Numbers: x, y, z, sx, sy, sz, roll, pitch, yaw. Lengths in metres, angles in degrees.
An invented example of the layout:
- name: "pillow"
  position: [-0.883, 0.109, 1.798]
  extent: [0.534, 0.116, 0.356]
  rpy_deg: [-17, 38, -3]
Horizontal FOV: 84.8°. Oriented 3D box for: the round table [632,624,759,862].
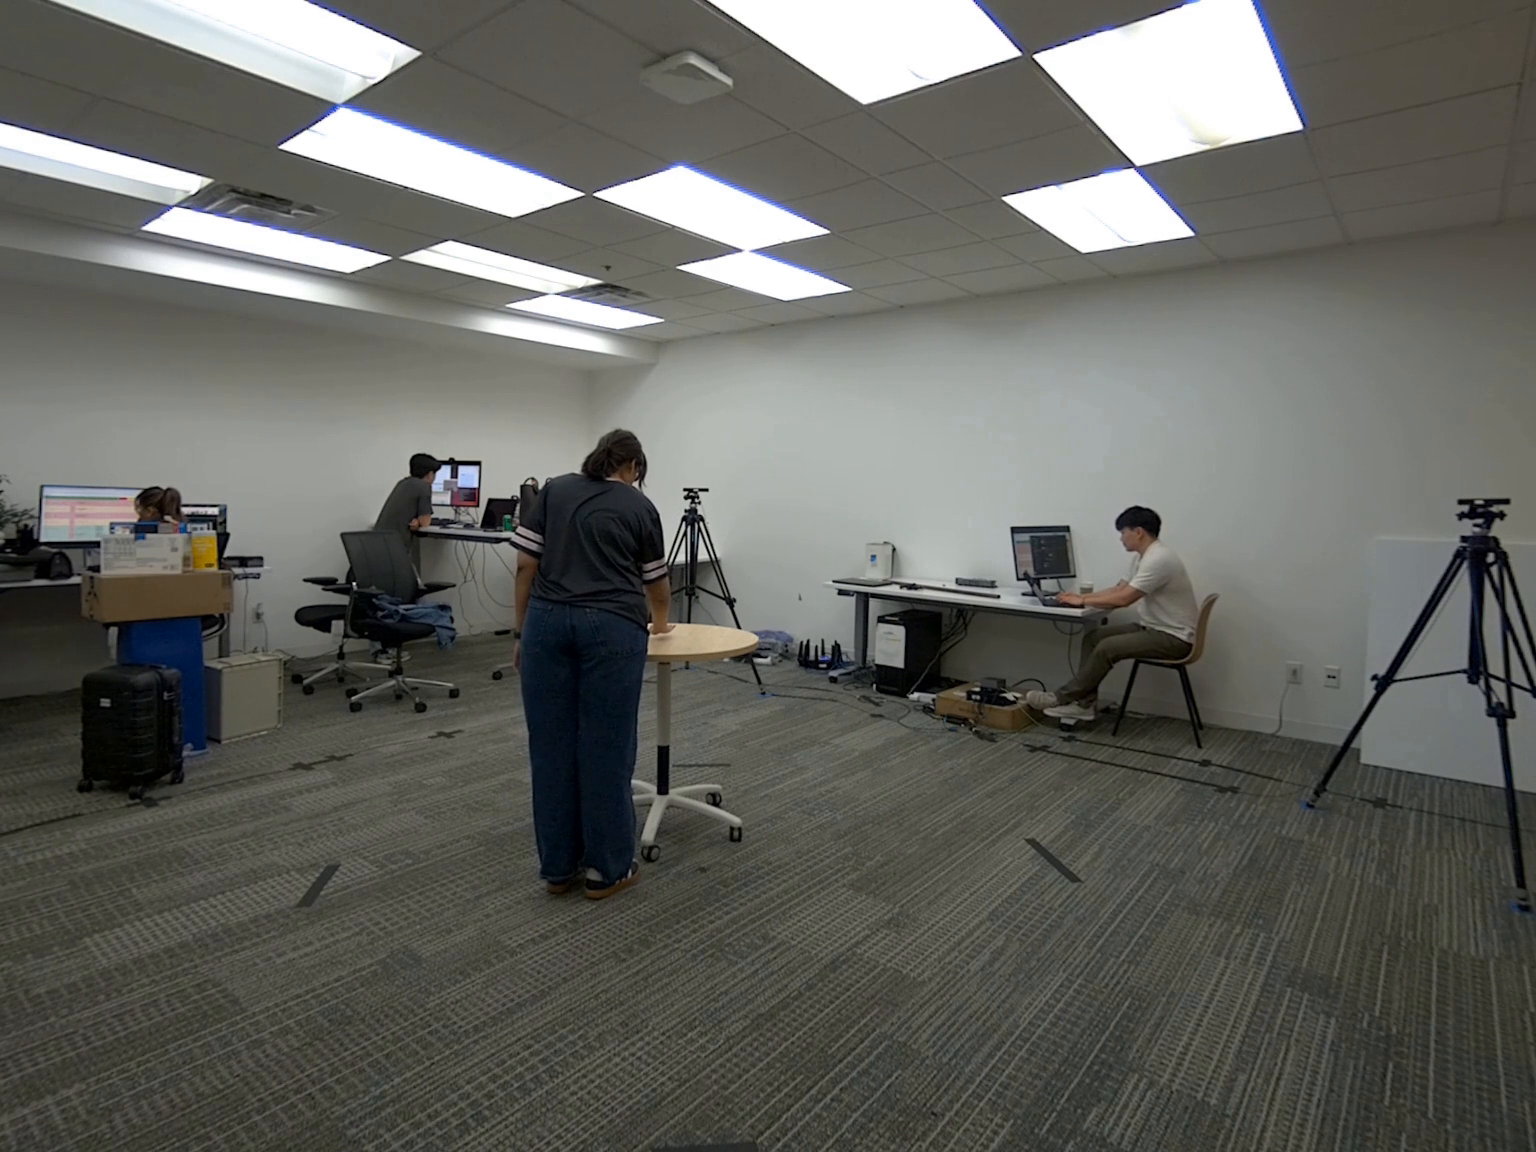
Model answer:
- name: "round table"
  position: [-0.448, 0.638, 3.481]
  extent: [0.784, 0.784, 0.789]
  rpy_deg: [1, 4, -2]
